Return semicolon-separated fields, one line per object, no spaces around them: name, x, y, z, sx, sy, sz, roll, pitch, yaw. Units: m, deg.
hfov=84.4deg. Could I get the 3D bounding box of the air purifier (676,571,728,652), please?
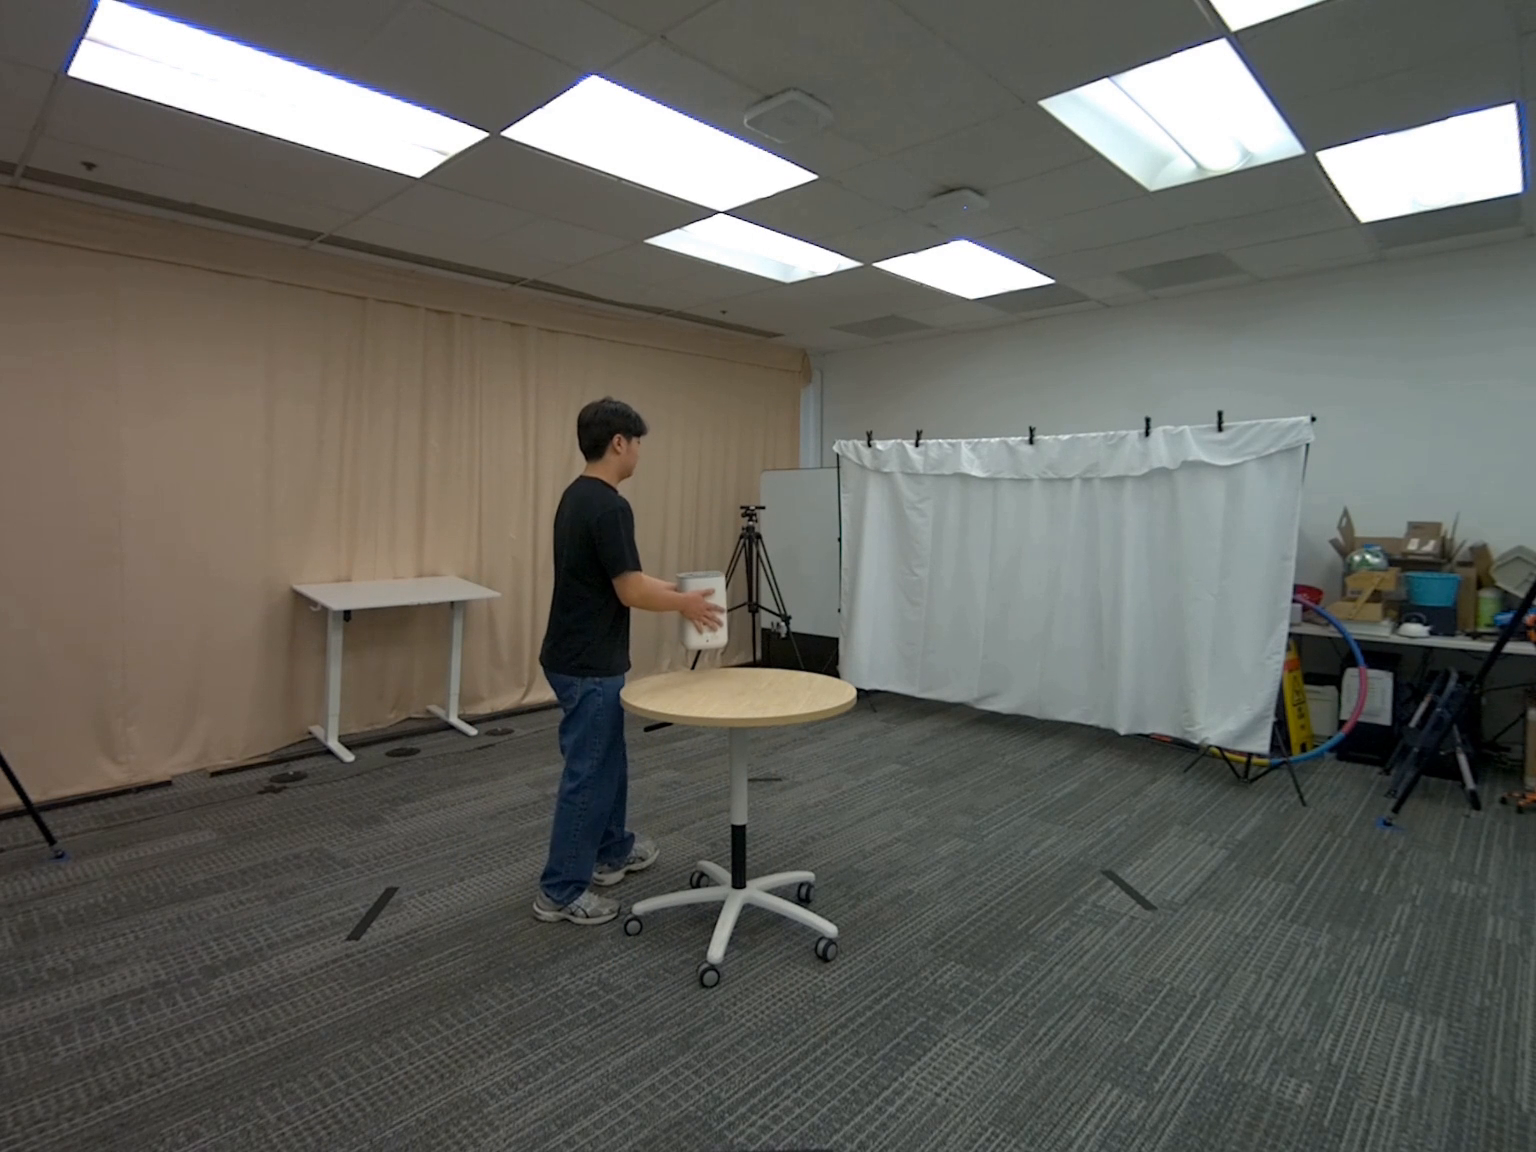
air purifier;-0.235;0.127;3.062;0.169;0.264;0.174;-3;5;-12
